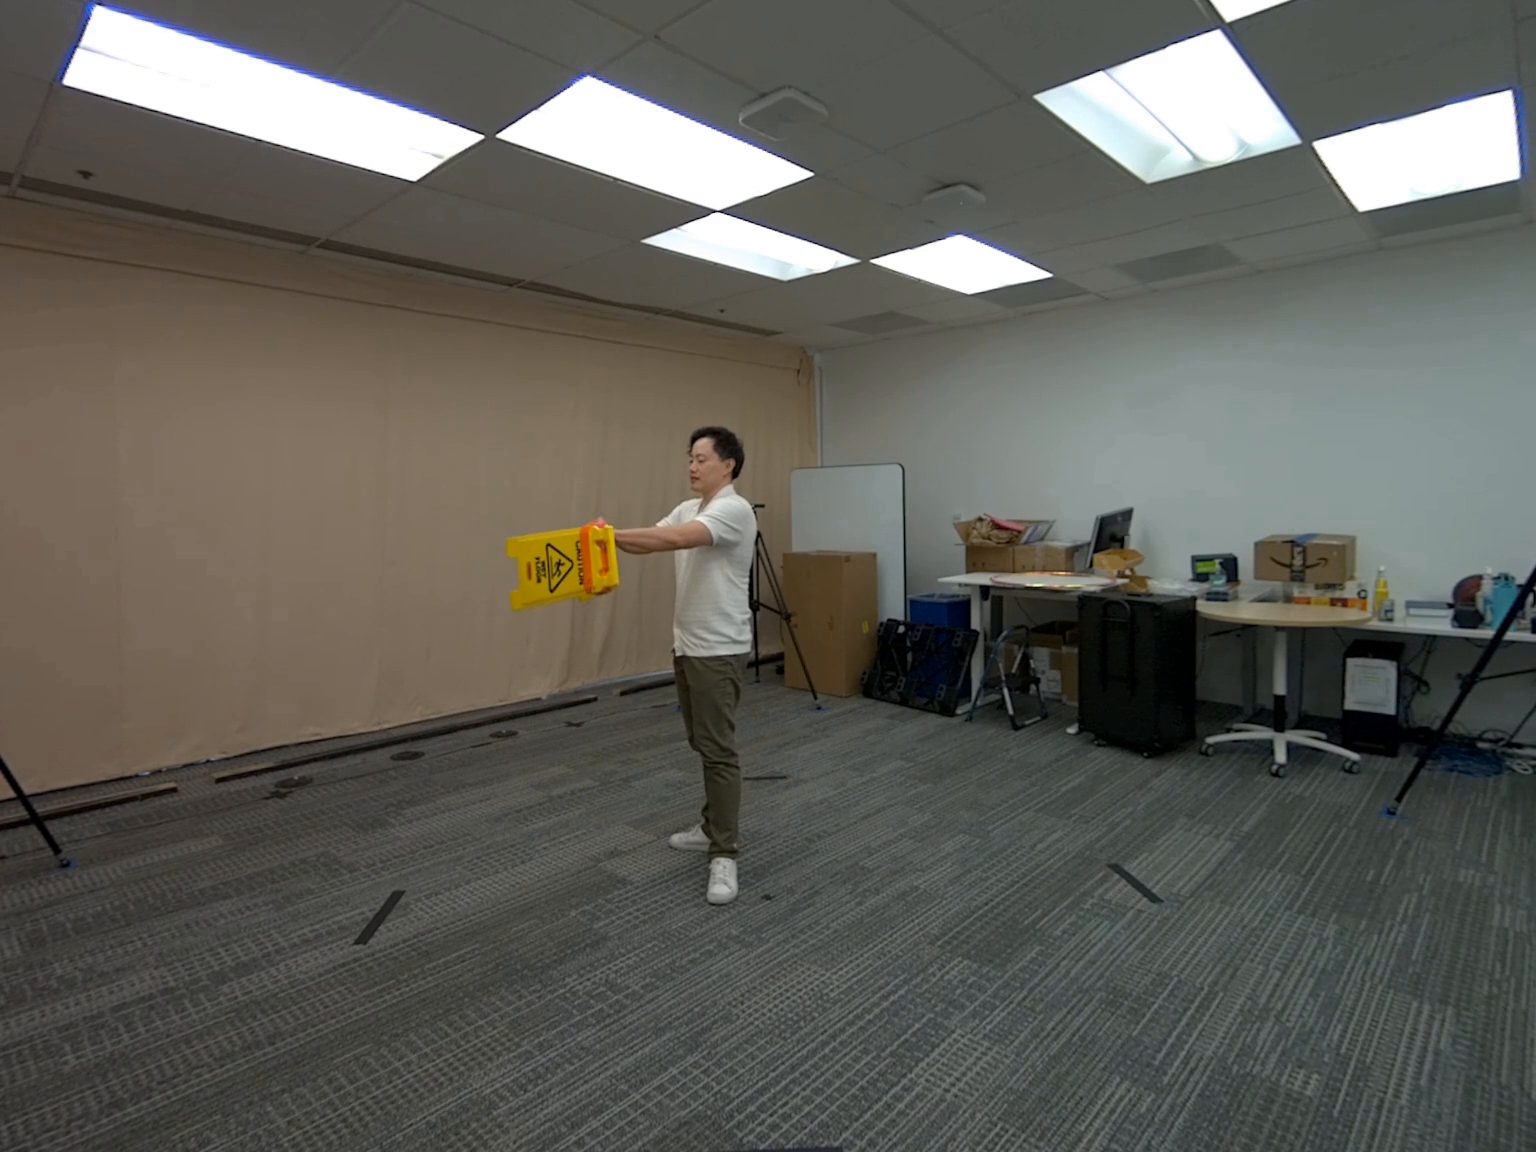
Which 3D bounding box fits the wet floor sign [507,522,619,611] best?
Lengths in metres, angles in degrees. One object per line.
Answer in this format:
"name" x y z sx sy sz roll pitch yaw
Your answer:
"wet floor sign" -0.687 -0.039 3.004 0.281 0.283 0.663 -3 -3 -35
